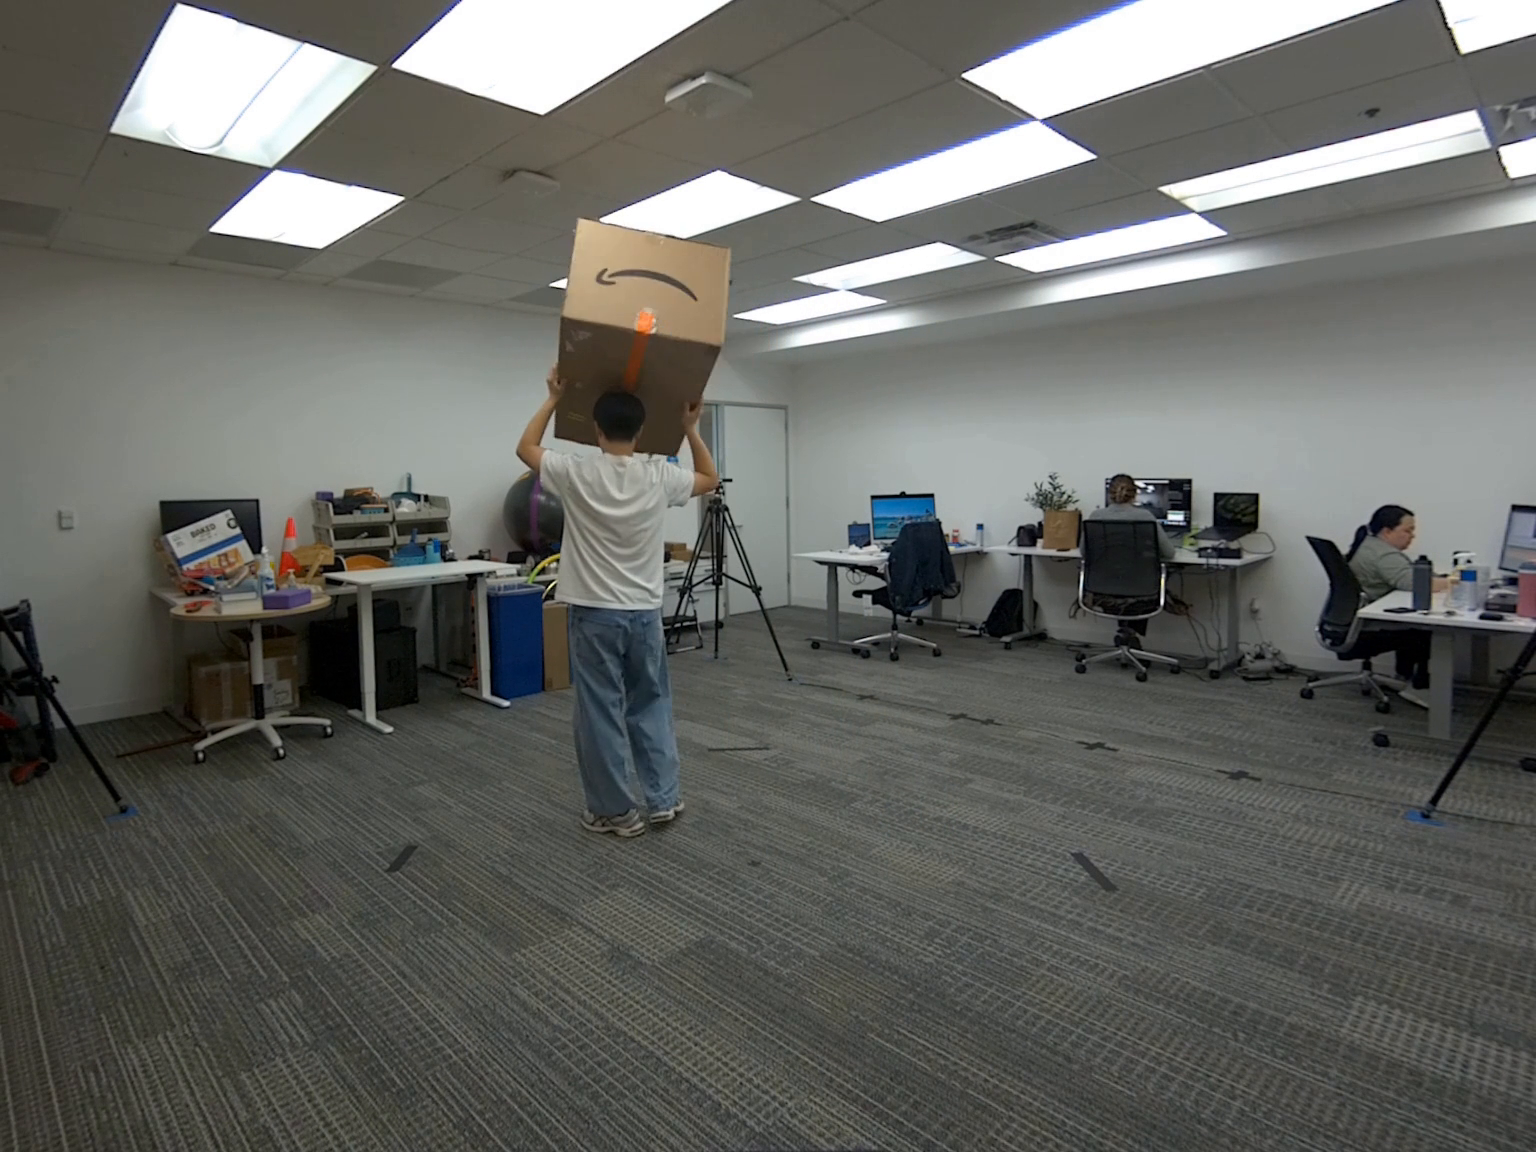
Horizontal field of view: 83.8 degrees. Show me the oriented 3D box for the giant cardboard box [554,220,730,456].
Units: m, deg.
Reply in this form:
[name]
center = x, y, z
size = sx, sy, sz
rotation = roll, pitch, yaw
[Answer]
[giant cardboard box]
center = -0.544, -0.913, 3.529
size = 0.571, 0.432, 1.023
rotation = 9, -18, -12
